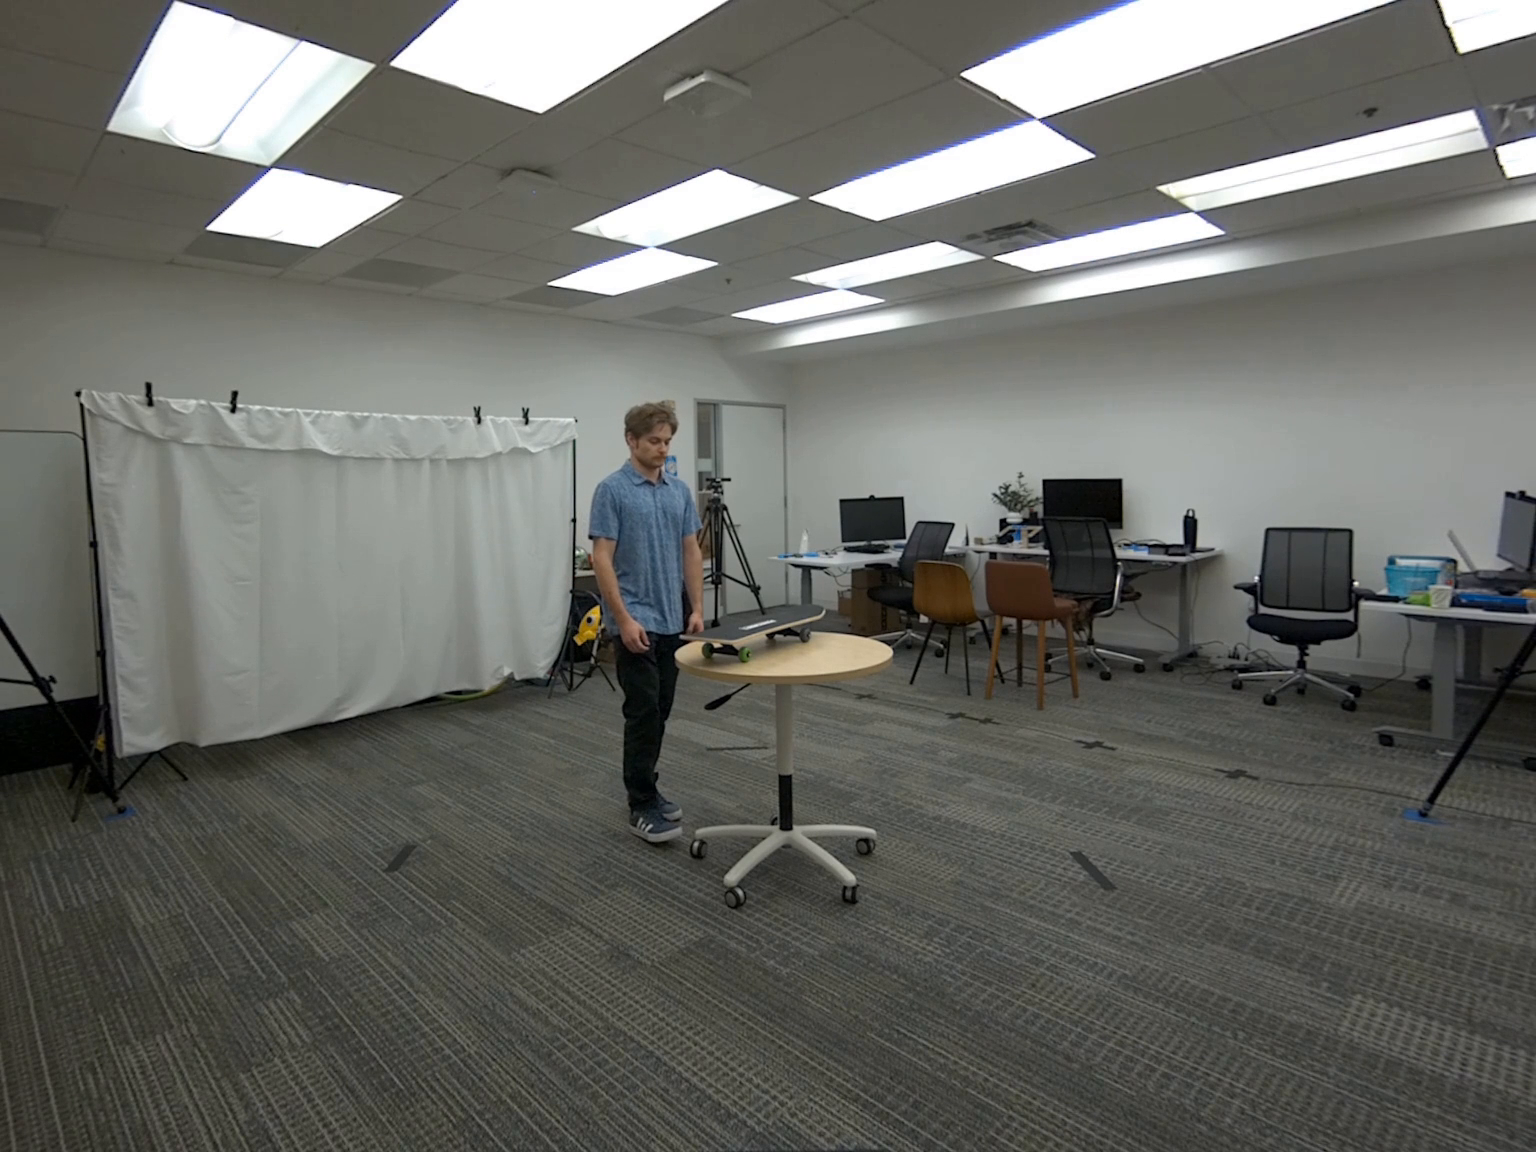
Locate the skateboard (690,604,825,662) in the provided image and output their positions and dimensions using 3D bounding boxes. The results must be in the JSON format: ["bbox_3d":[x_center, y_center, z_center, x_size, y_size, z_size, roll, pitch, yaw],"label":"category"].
[{"bbox_3d":[-0.029,0.215,3.054,0.199,0.110,0.766,2,6,34],"label":"skateboard"}]
